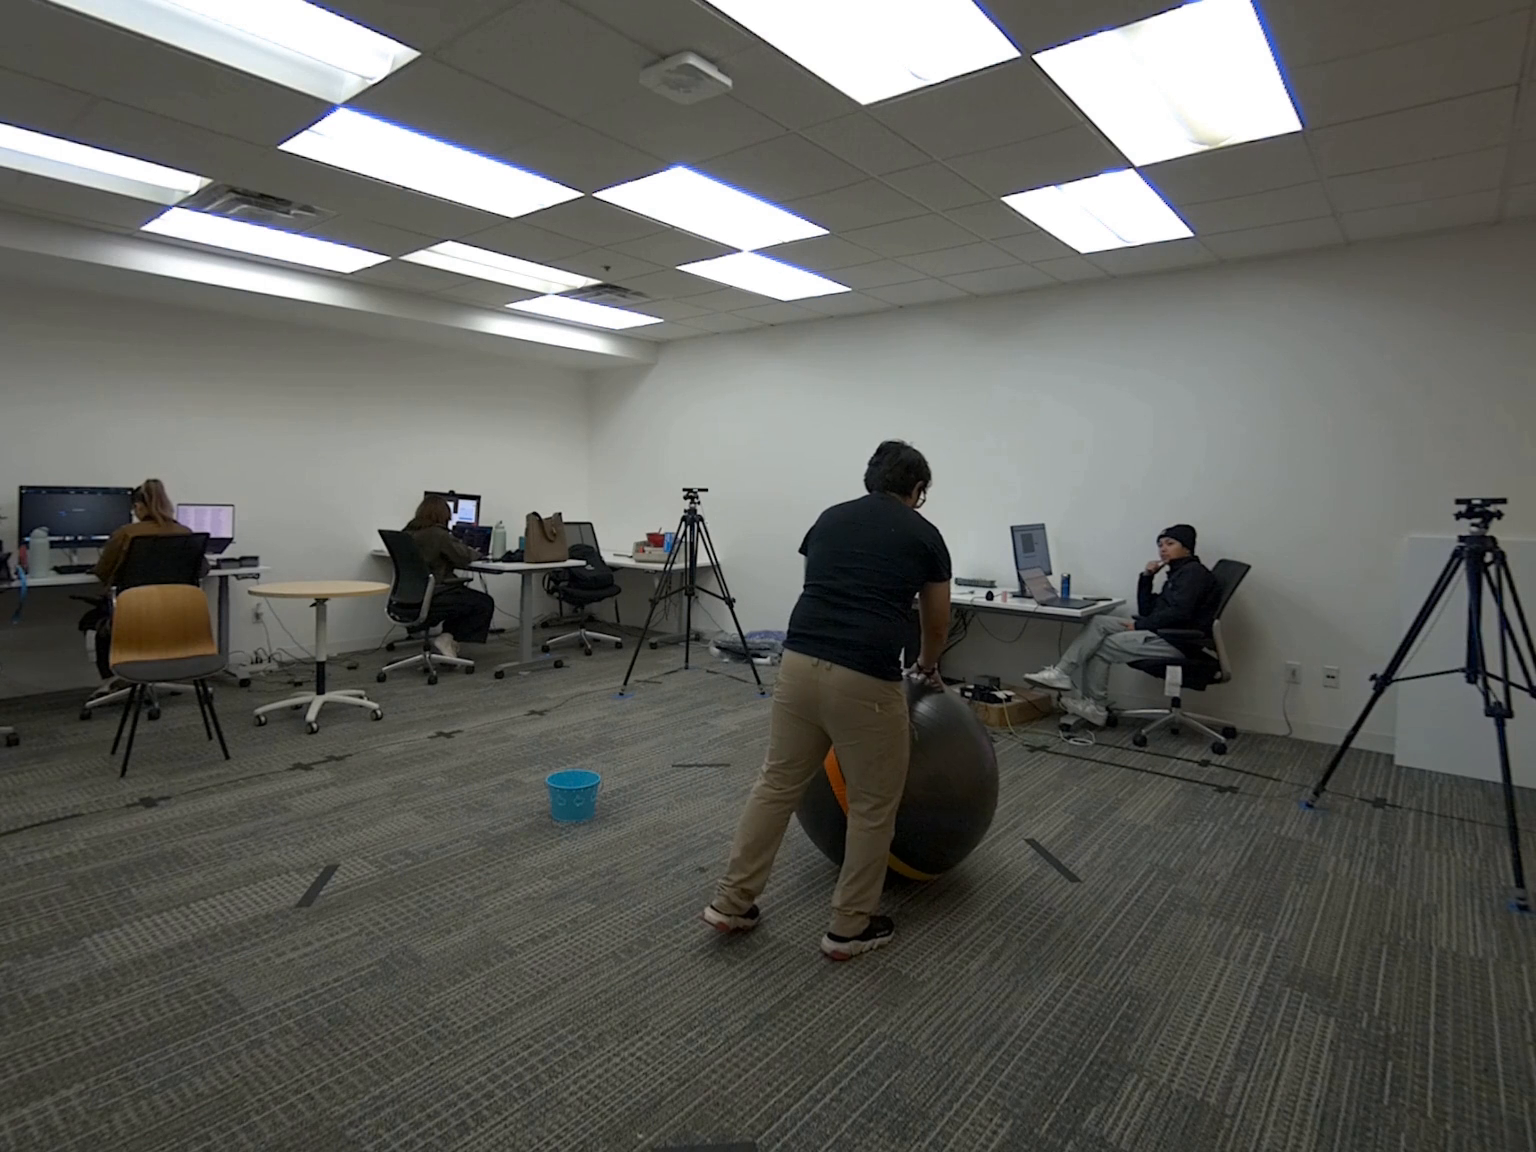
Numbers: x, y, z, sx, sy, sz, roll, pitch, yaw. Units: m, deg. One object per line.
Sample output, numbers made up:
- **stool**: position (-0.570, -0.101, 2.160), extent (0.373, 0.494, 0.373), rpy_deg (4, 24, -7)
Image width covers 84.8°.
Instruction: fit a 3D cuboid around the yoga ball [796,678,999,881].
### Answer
- **yoga ball**: position (0.444, 0.724, 3.117), extent (0.757, 0.755, 0.762), rpy_deg (1, 4, -2)
